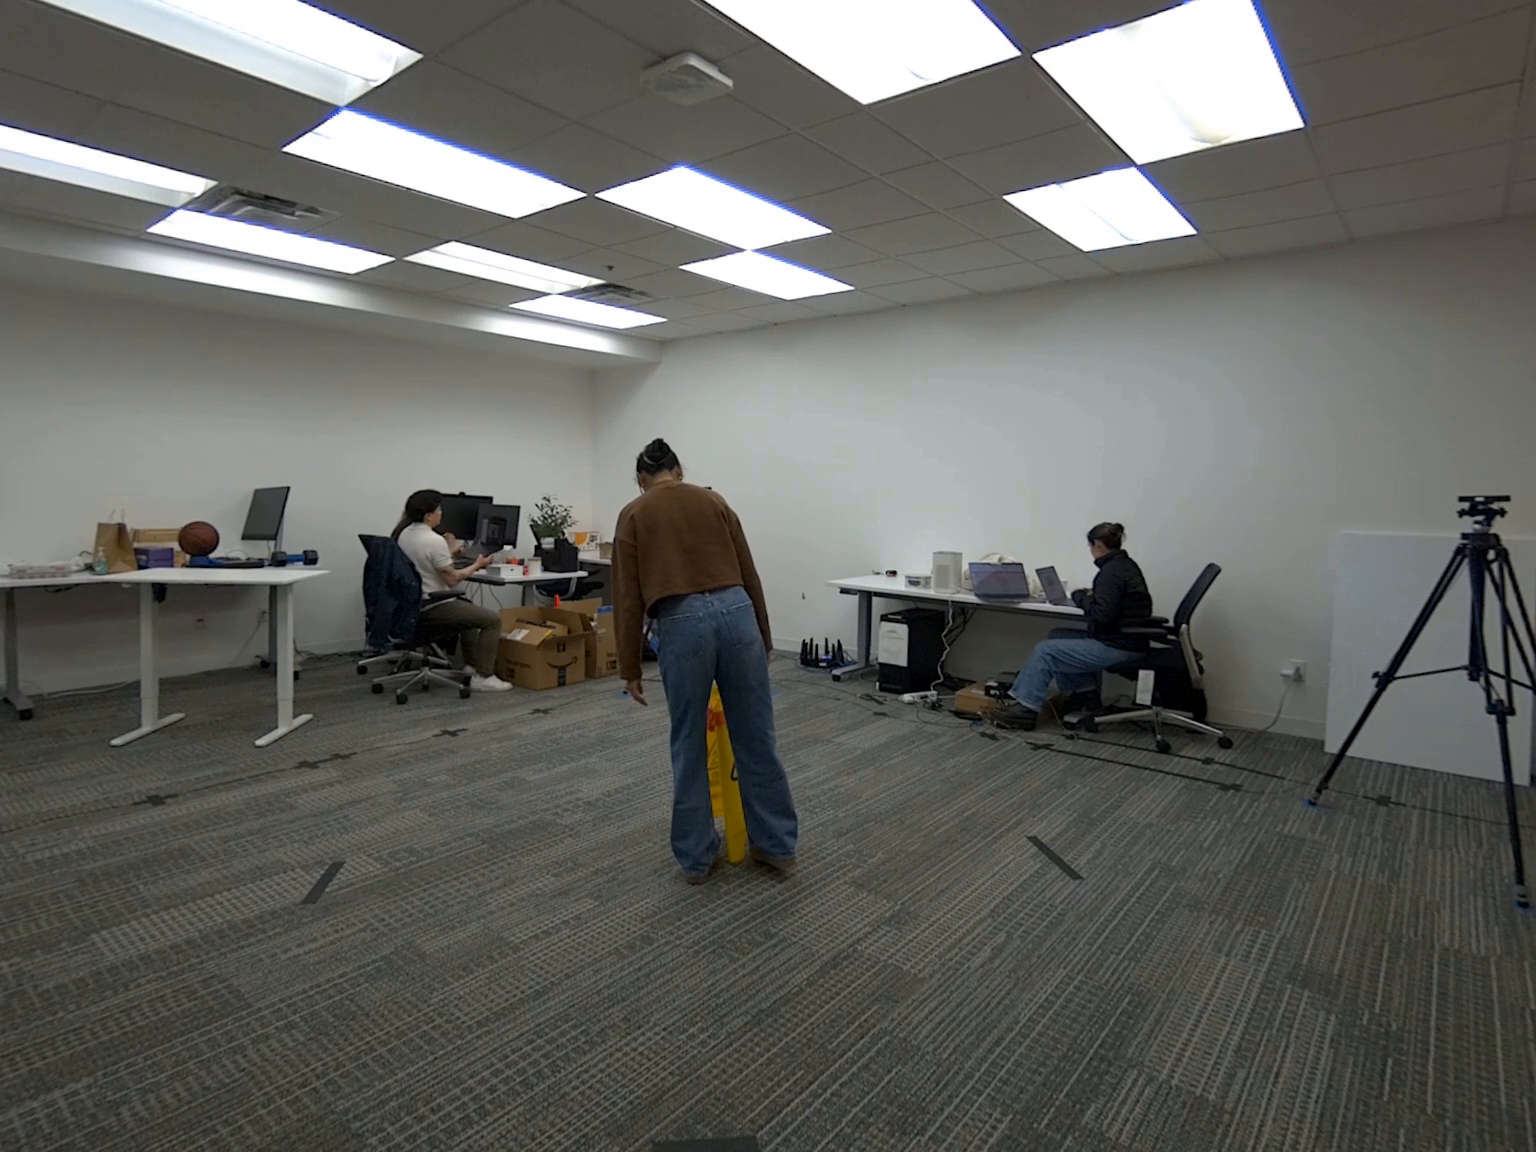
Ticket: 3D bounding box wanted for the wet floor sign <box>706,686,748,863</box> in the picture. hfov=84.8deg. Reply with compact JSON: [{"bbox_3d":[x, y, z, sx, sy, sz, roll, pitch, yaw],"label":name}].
[{"bbox_3d":[-0.143,0.715,3.307,0.274,0.645,0.299,-2,2,-43],"label":"wet floor sign"}]
